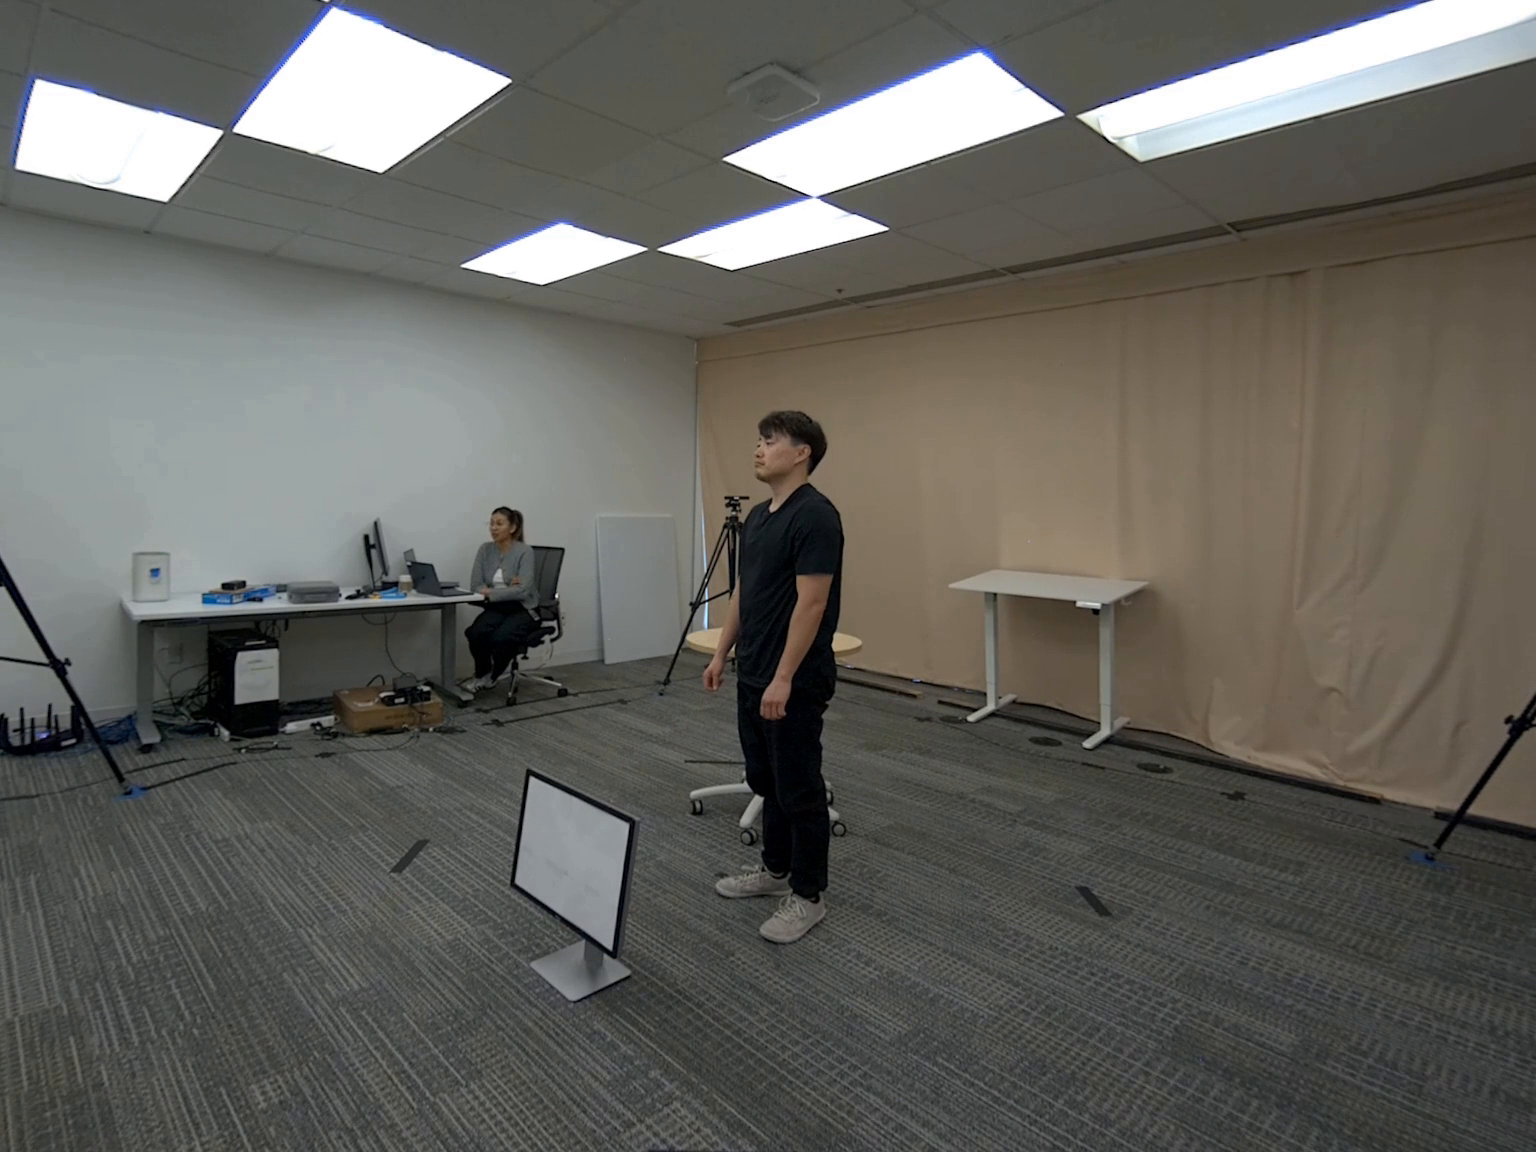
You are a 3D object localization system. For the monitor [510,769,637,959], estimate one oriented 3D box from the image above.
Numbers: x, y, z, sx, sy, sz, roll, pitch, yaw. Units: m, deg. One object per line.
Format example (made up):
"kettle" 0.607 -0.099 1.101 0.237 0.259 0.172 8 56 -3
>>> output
"monitor" -0.549 0.896 2.427 0.553 0.520 0.183 5 8 44
